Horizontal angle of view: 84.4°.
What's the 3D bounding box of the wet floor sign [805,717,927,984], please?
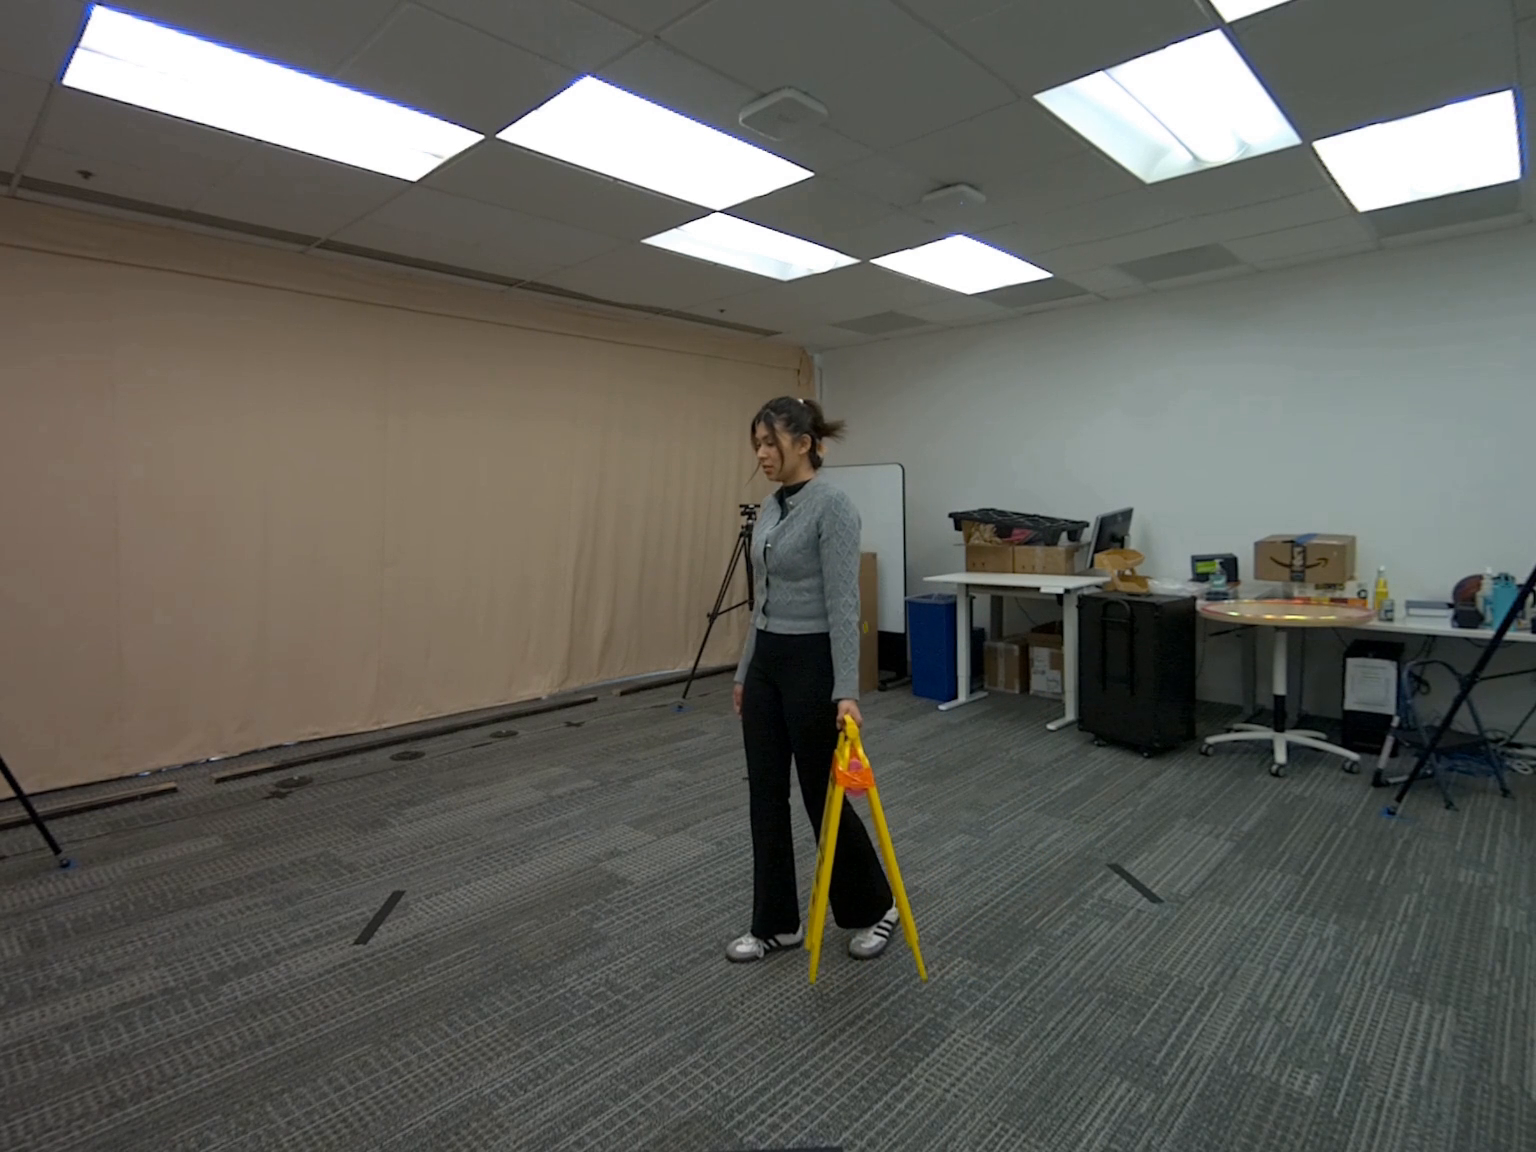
[{"bbox_3d":[0.241,0.696,2.253,0.290,0.647,0.281,-4,-2,1],"label":"wet floor sign"}]
